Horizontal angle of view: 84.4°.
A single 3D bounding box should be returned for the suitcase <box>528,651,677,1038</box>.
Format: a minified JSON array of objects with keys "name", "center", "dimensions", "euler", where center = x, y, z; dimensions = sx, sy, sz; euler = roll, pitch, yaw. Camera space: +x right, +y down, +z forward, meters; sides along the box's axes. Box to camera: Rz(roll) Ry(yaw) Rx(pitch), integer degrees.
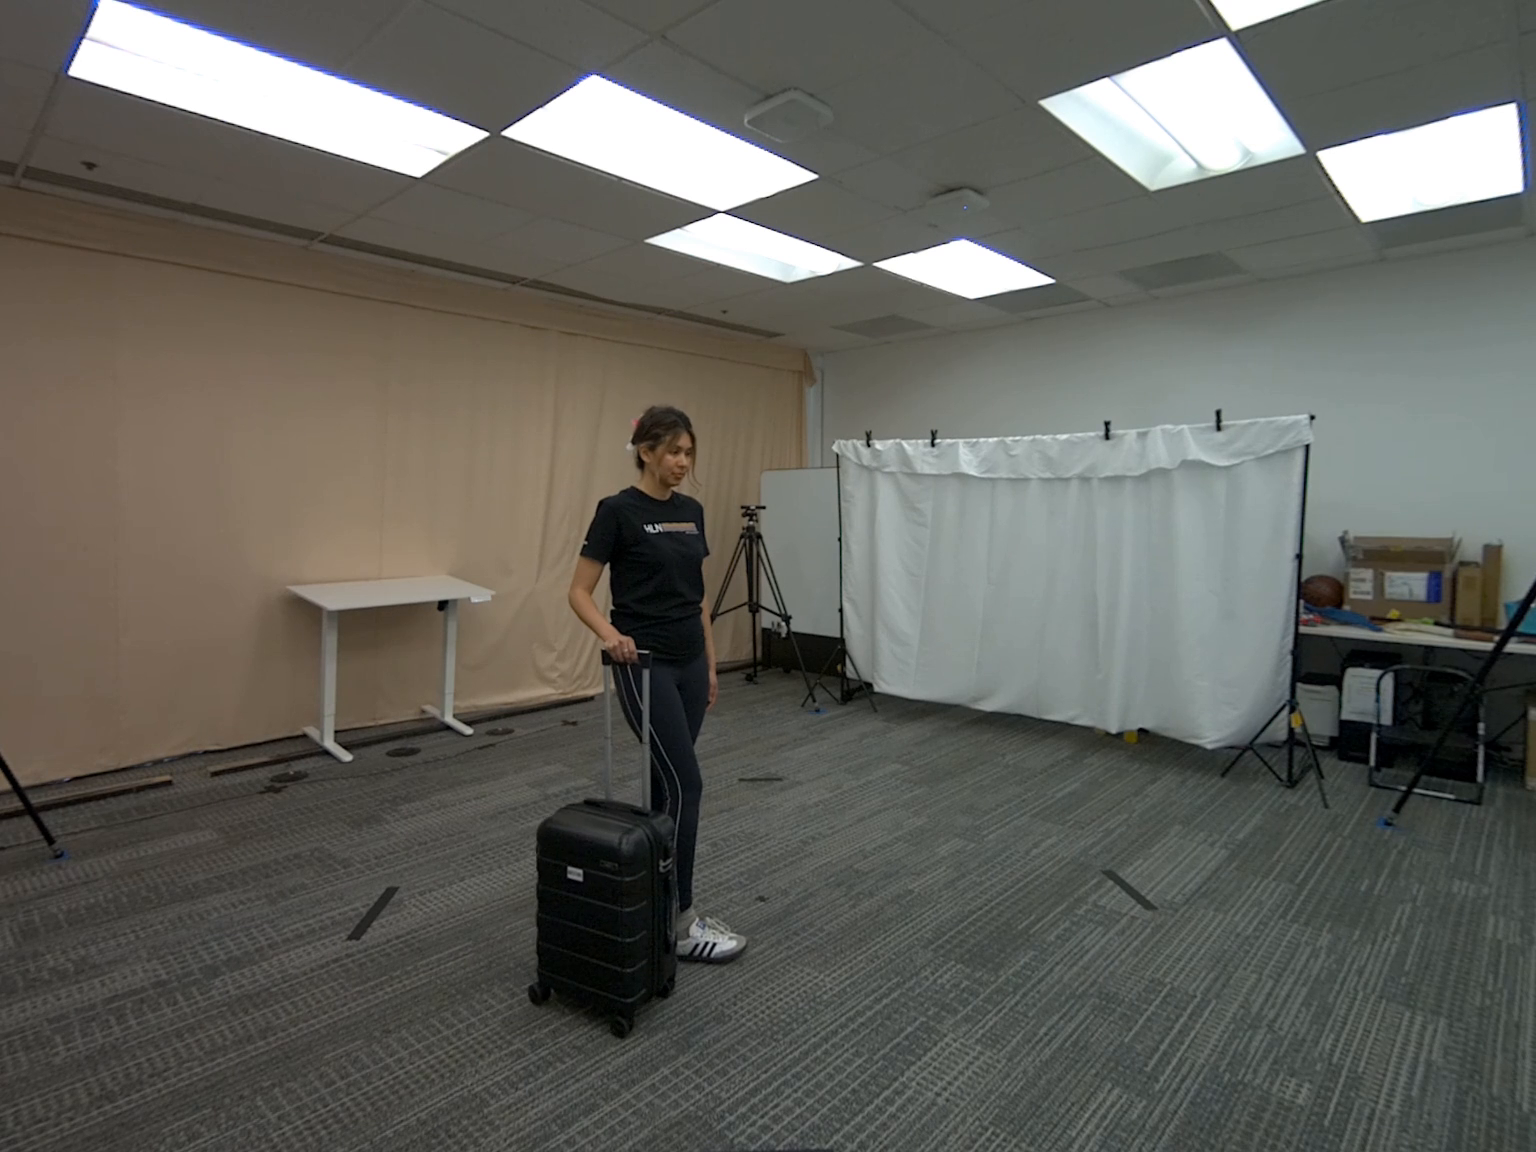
[{"name":"suitcase","center":[-0.452,0.725,2.335],"dimensions":[0.395,0.975,0.250],"euler":[3,6,29]}]
